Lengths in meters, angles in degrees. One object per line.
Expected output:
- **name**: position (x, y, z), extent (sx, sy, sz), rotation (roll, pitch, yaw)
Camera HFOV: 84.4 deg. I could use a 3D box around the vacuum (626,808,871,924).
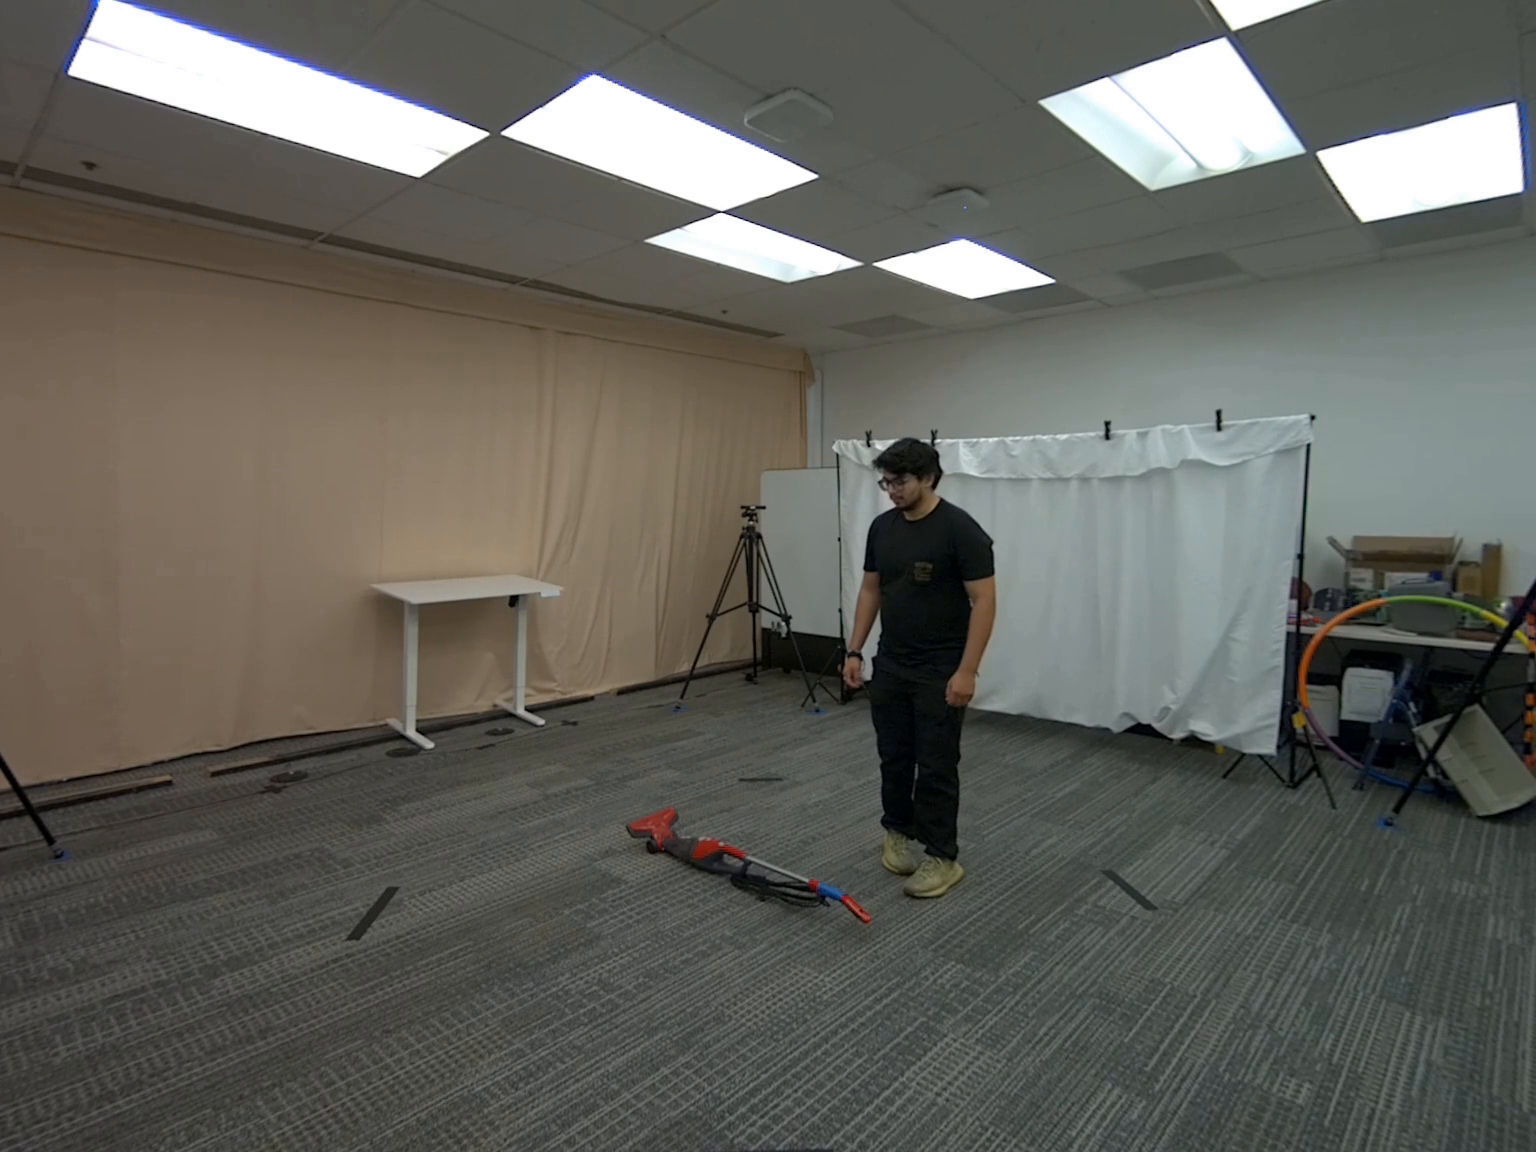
- **vacuum**: position (-0.068, 1.078, 3.076), extent (1.085, 0.143, 0.245), rotation (5, 10, 45)
